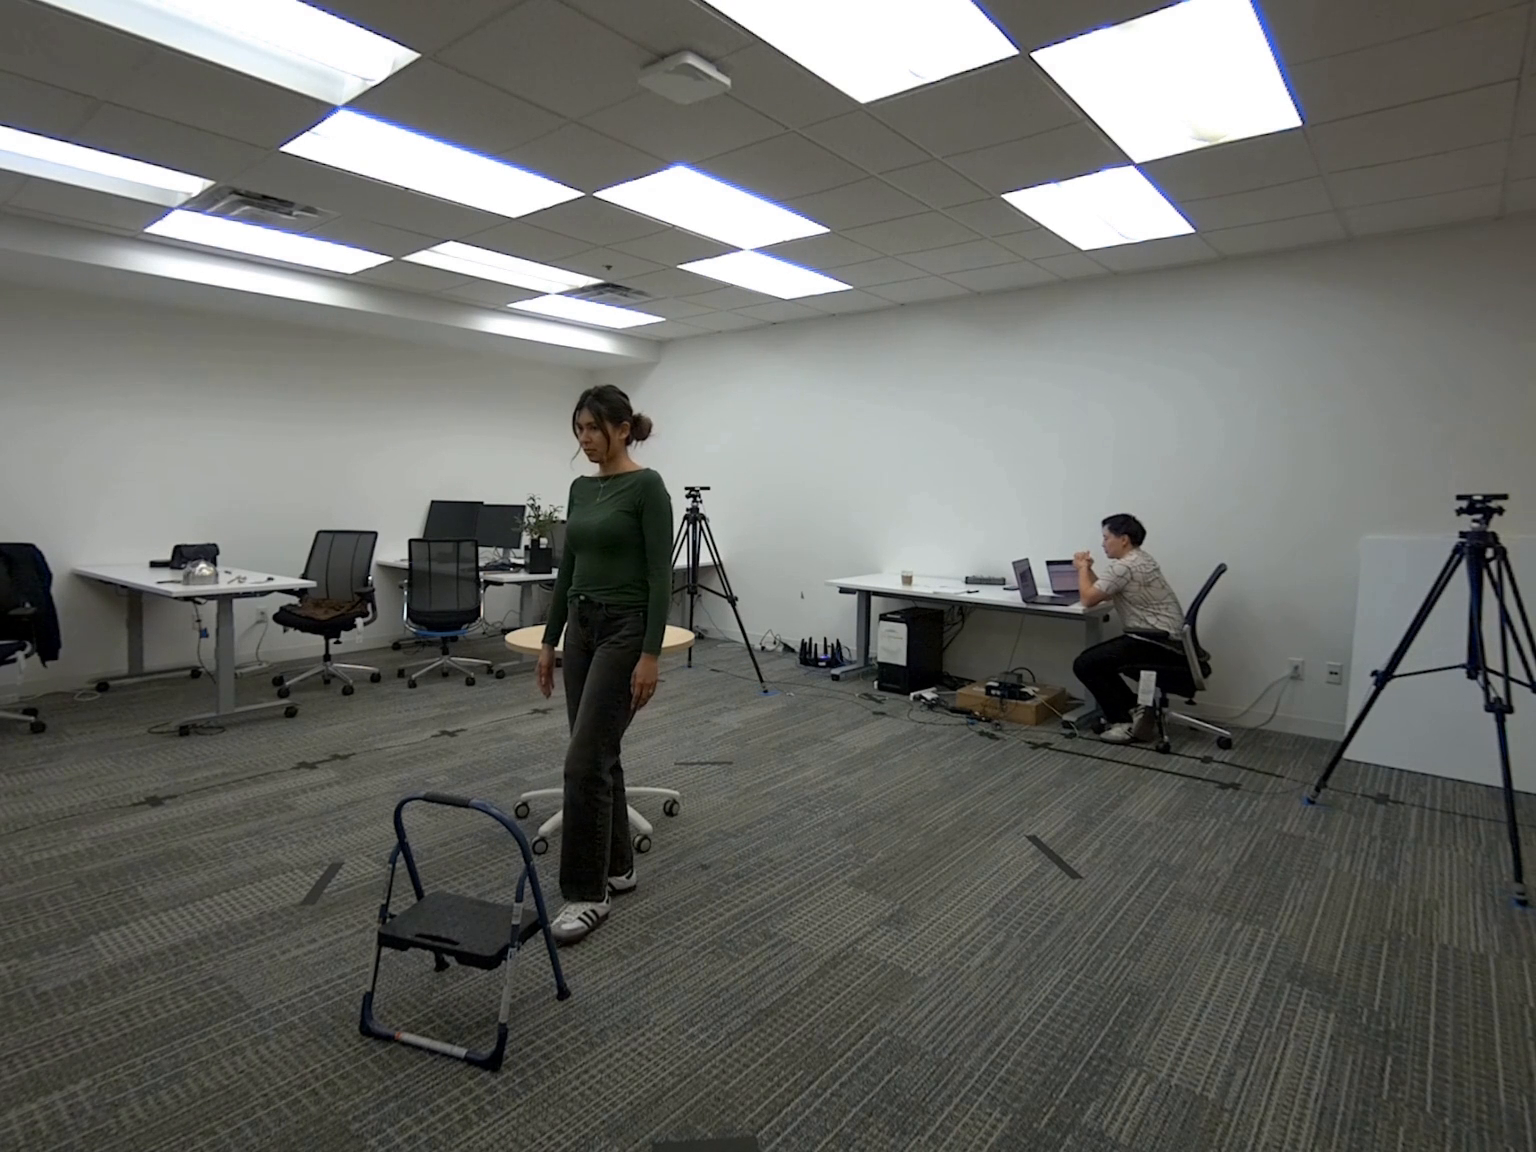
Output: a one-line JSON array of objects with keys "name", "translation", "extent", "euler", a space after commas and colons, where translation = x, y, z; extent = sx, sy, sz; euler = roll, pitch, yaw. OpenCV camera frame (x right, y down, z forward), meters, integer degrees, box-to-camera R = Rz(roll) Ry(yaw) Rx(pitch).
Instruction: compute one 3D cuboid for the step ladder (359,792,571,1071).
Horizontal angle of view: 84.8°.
[{"name": "step ladder", "translation": [-0.800, 0.845, 2.220], "extent": [0.439, 0.604, 0.344], "euler": [2, 4, 18]}]
